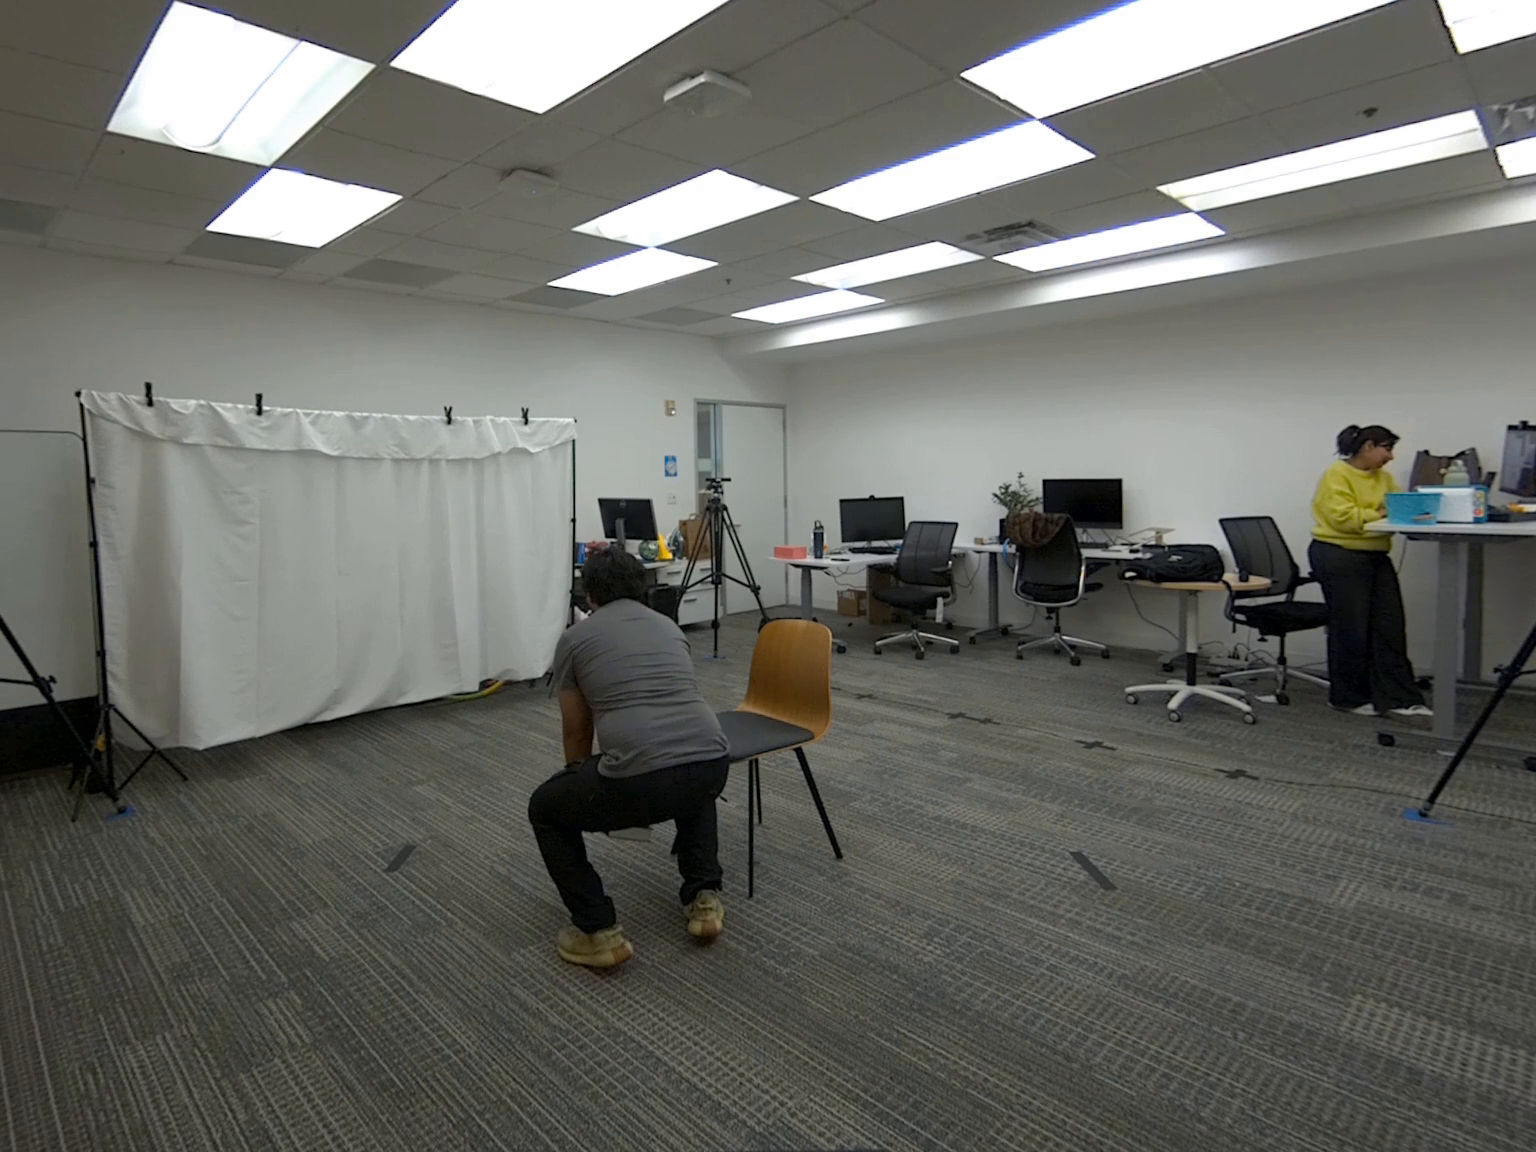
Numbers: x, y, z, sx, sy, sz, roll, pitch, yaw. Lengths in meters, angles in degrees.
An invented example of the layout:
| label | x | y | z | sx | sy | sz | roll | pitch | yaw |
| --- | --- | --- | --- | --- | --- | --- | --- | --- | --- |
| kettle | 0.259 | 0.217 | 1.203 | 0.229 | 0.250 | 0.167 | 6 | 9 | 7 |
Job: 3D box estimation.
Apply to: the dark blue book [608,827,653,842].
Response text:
| label | x | y | z | sx | sy | sz | roll | pitch | yaw |
| --- | --- | --- | --- | --- | --- | --- | --- | --- | --- |
| dark blue book | -0.503 | 0.824 | 2.849 | 0.158 | 0.045 | 0.252 | 19 | -8 | -34 |
